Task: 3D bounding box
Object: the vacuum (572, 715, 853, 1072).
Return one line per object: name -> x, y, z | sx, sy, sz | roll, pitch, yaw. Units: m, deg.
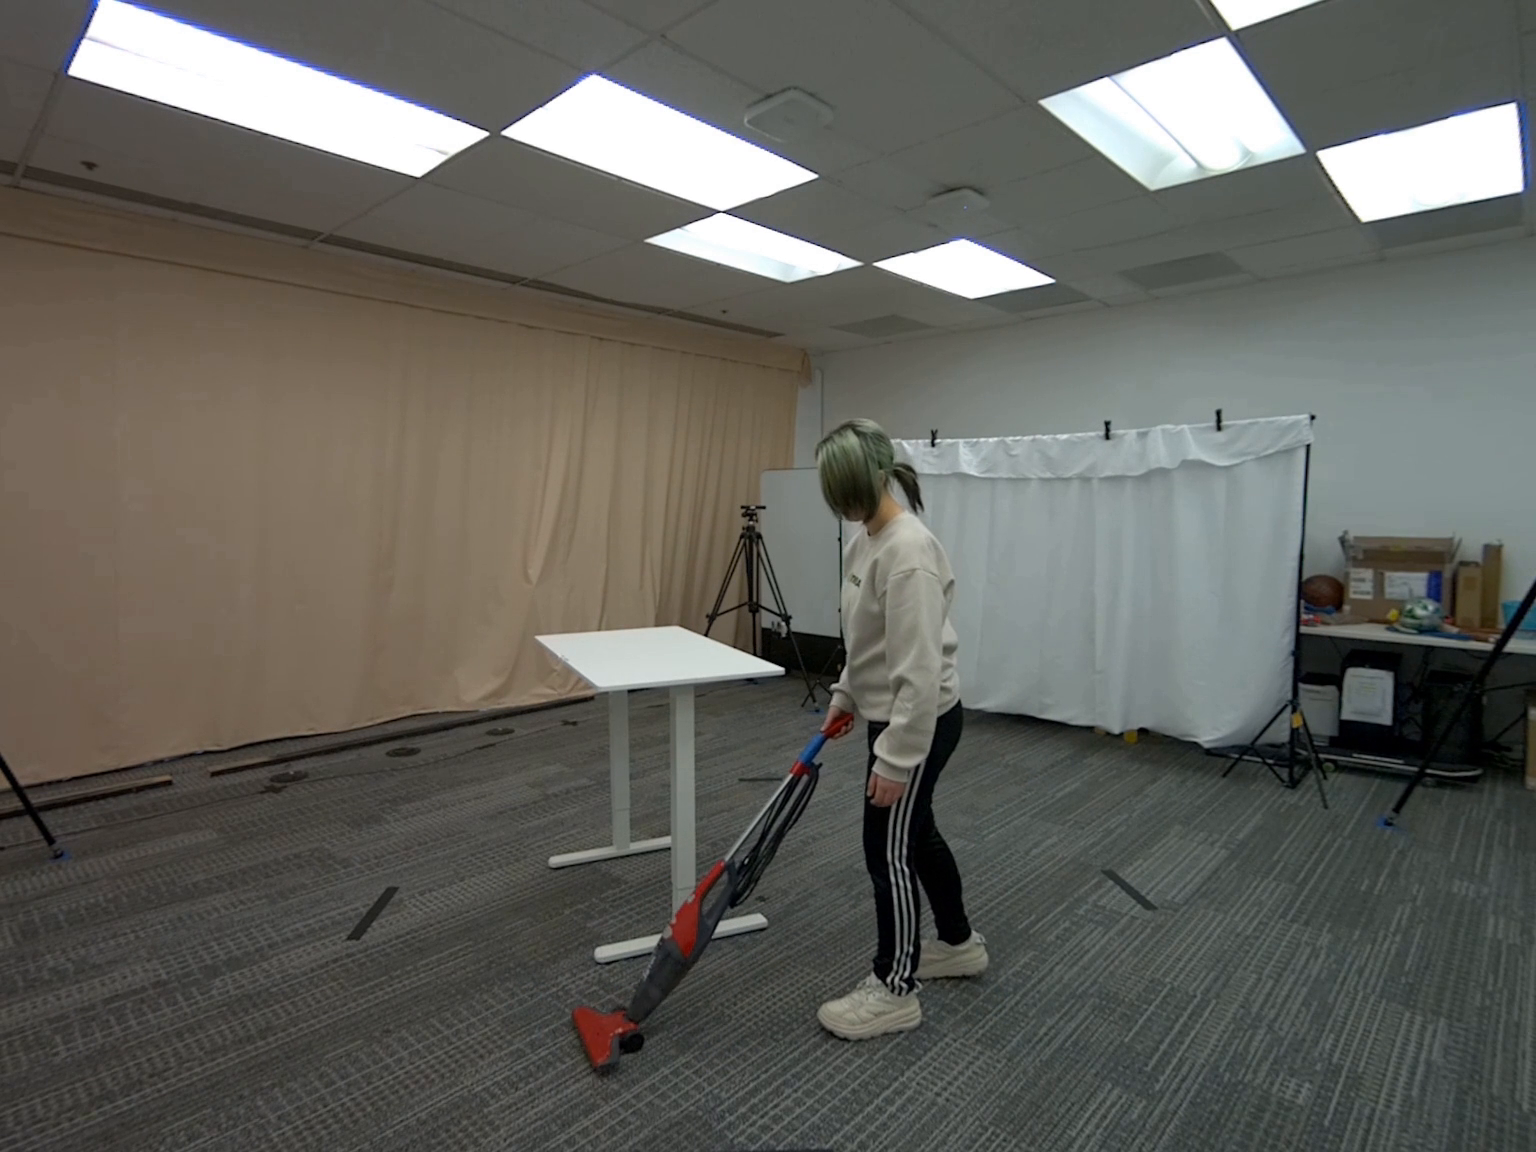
vacuum -> -0.088, 0.828, 2.307 | 0.140, 1.045, 0.260 | 49, -16, -27
